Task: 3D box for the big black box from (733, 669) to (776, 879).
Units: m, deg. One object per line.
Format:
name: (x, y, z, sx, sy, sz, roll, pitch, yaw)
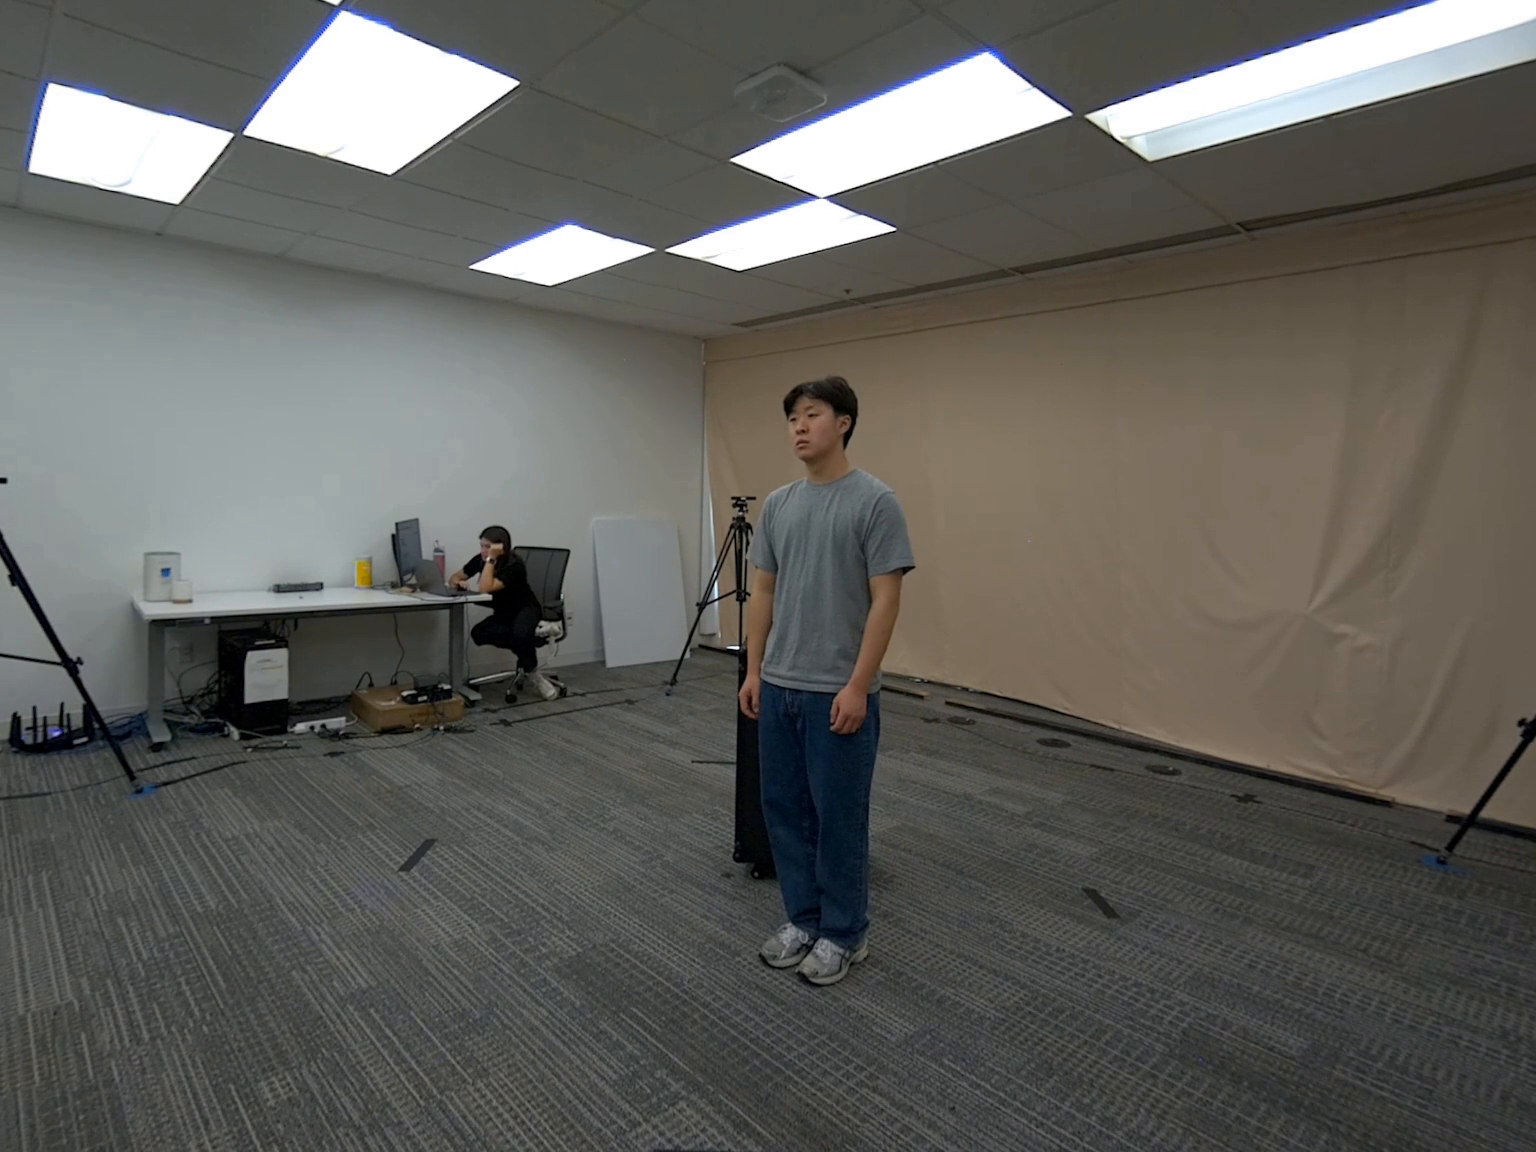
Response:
big black box: (0.136, 0.680, 3.171, 0.524, 0.859, 0.395, 3, 4, 7)
